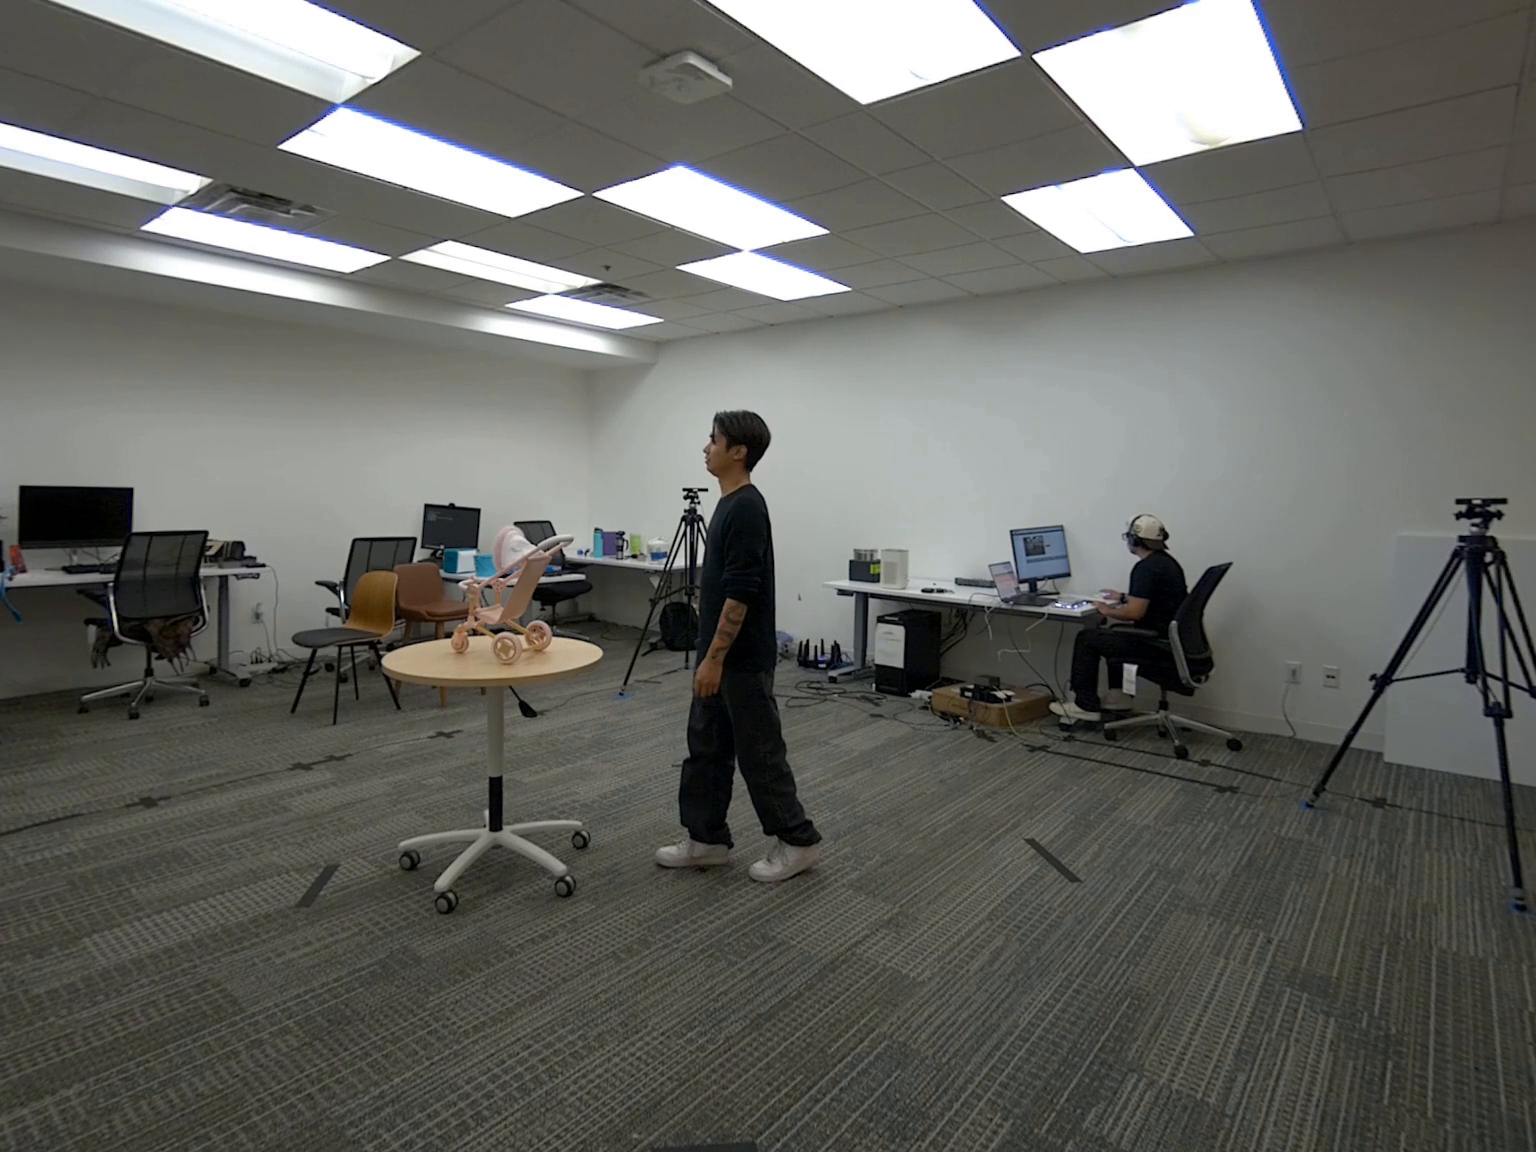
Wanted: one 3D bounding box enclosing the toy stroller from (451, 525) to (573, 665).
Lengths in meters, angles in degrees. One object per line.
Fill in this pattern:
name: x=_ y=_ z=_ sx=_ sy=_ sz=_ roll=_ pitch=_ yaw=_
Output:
toy stroller: x=-0.947 y=0.062 z=3.026 sx=0.348 sy=0.532 sz=0.277 roll=18 pitch=8 yaw=14
